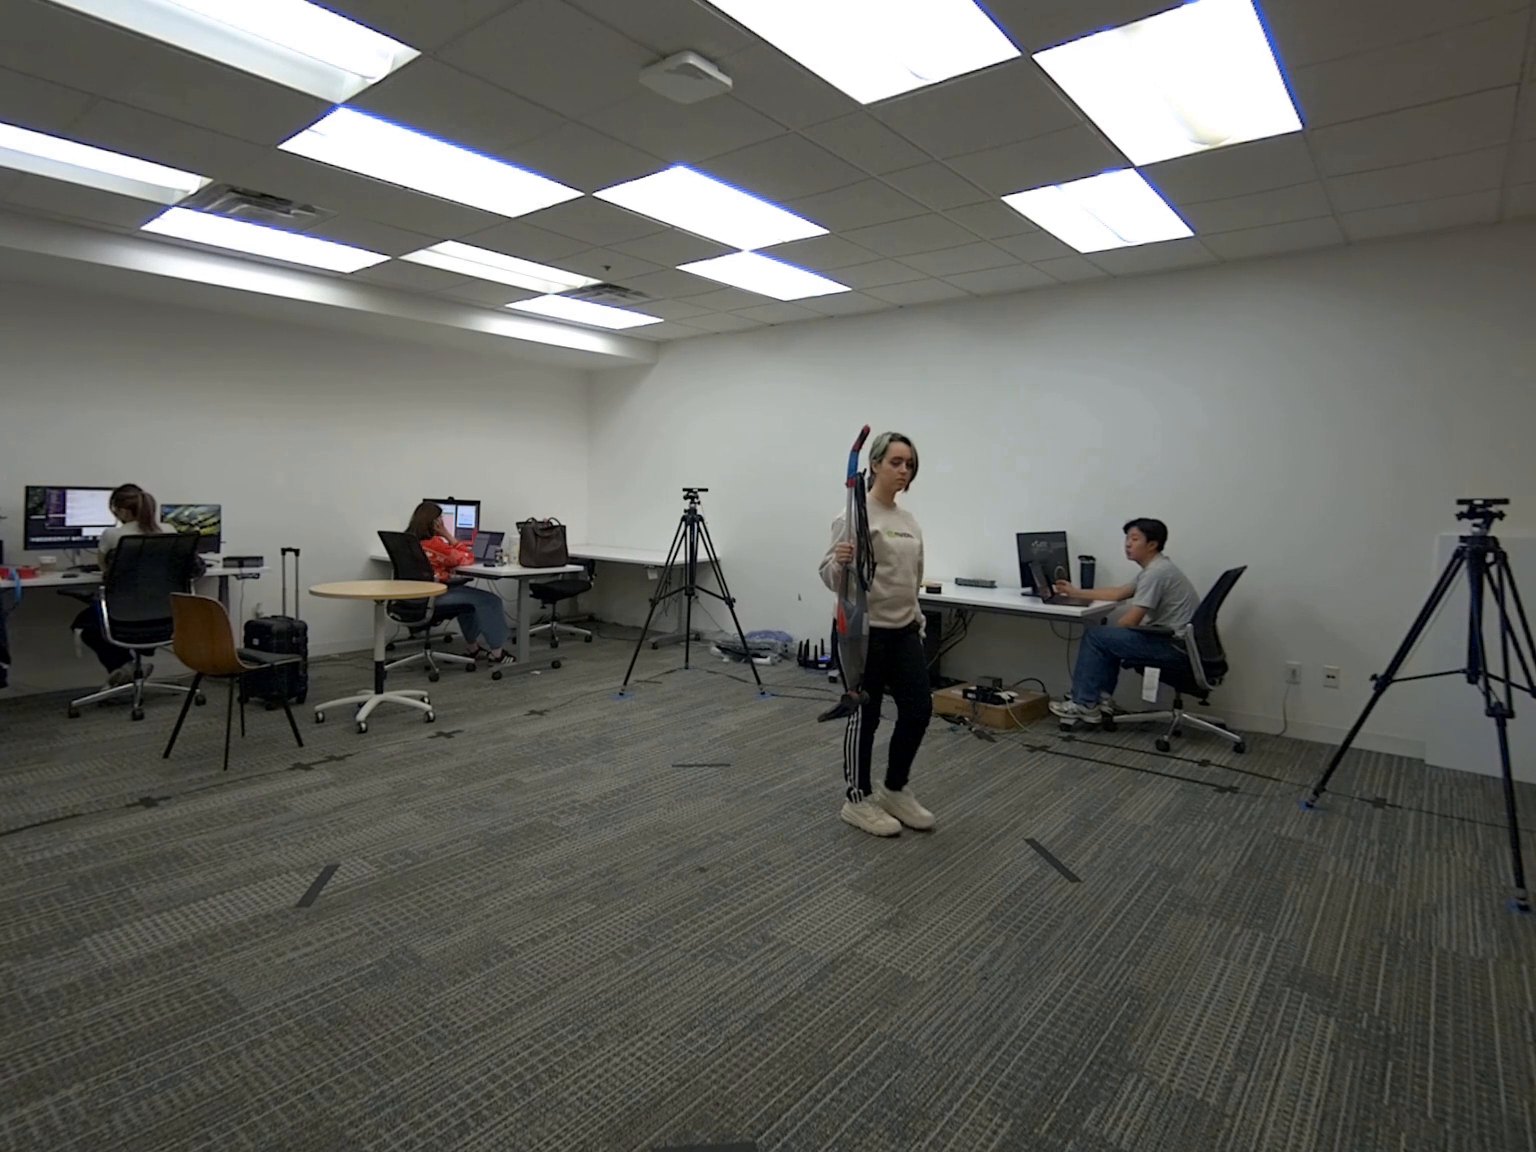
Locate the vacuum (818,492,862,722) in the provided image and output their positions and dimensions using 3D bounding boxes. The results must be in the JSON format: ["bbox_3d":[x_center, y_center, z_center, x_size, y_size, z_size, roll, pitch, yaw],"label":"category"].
[{"bbox_3d":[0.315,-0.031,3.180,0.148,1.051,0.244,2,-2,36],"label":"vacuum"}]
